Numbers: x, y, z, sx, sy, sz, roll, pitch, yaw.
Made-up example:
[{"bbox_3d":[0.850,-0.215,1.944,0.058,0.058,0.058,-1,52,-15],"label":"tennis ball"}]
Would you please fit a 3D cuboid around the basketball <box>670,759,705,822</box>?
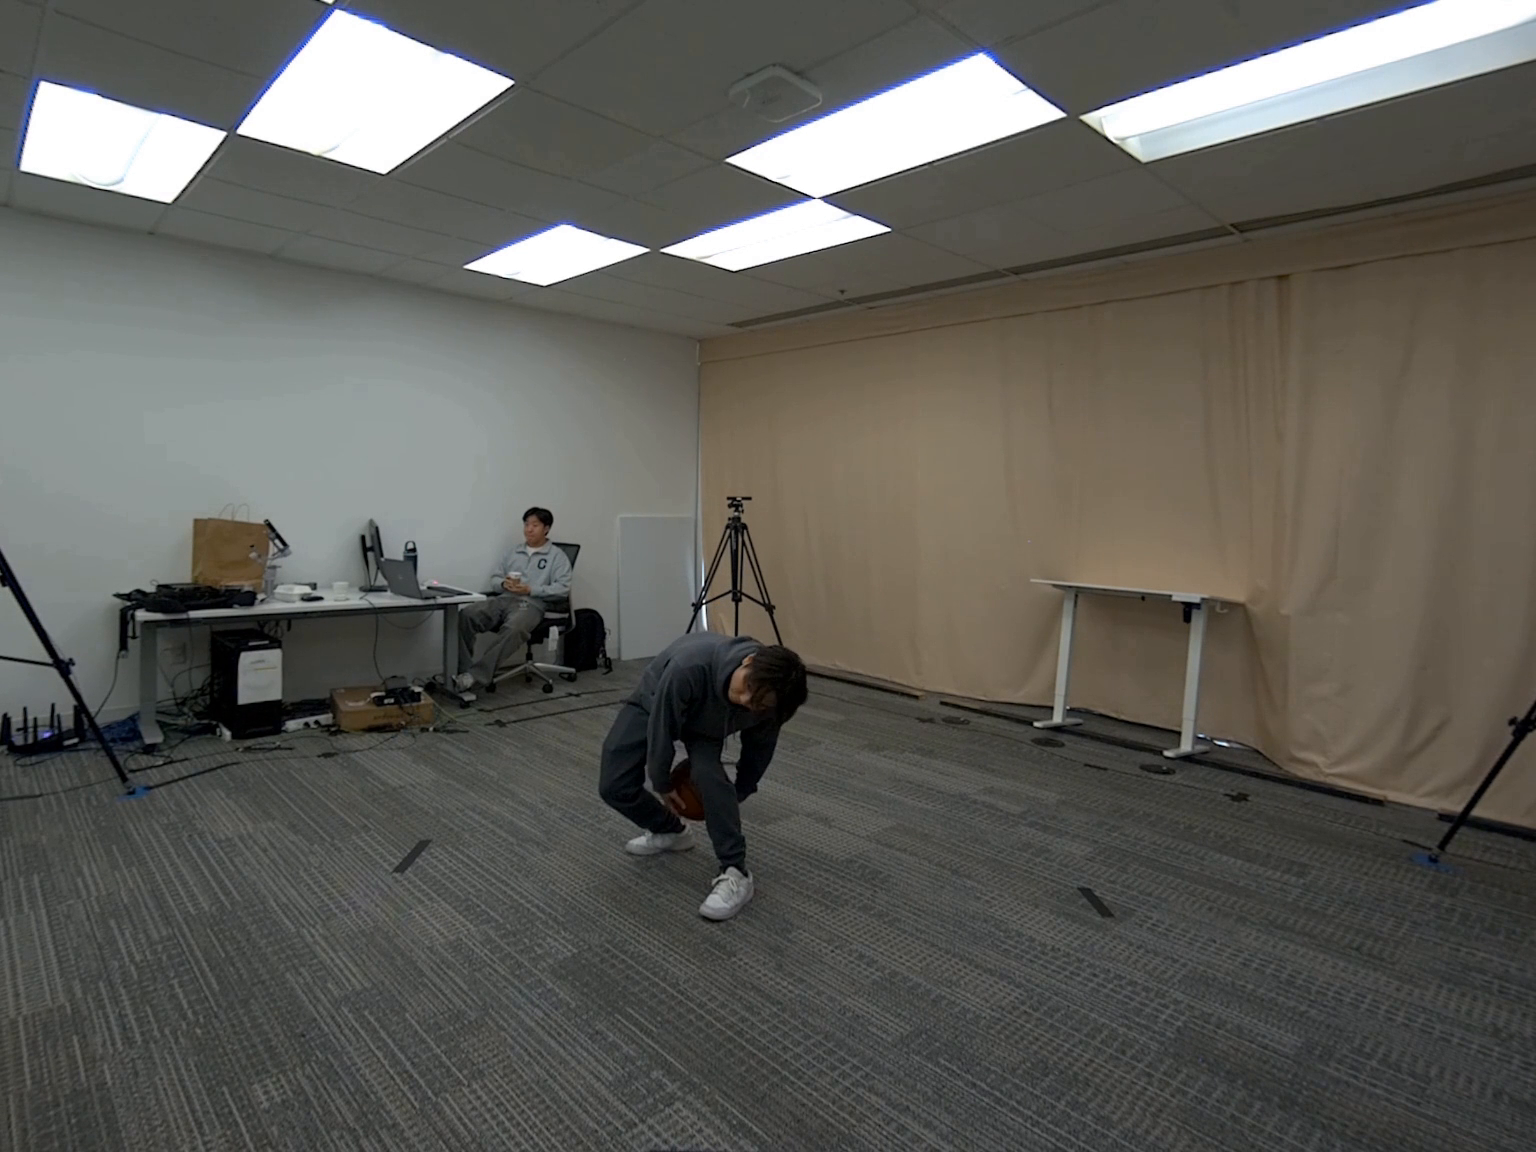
[{"bbox_3d":[-0.266,0.799,3.177,0.236,0.235,0.237,1,4,-1],"label":"basketball"}]
